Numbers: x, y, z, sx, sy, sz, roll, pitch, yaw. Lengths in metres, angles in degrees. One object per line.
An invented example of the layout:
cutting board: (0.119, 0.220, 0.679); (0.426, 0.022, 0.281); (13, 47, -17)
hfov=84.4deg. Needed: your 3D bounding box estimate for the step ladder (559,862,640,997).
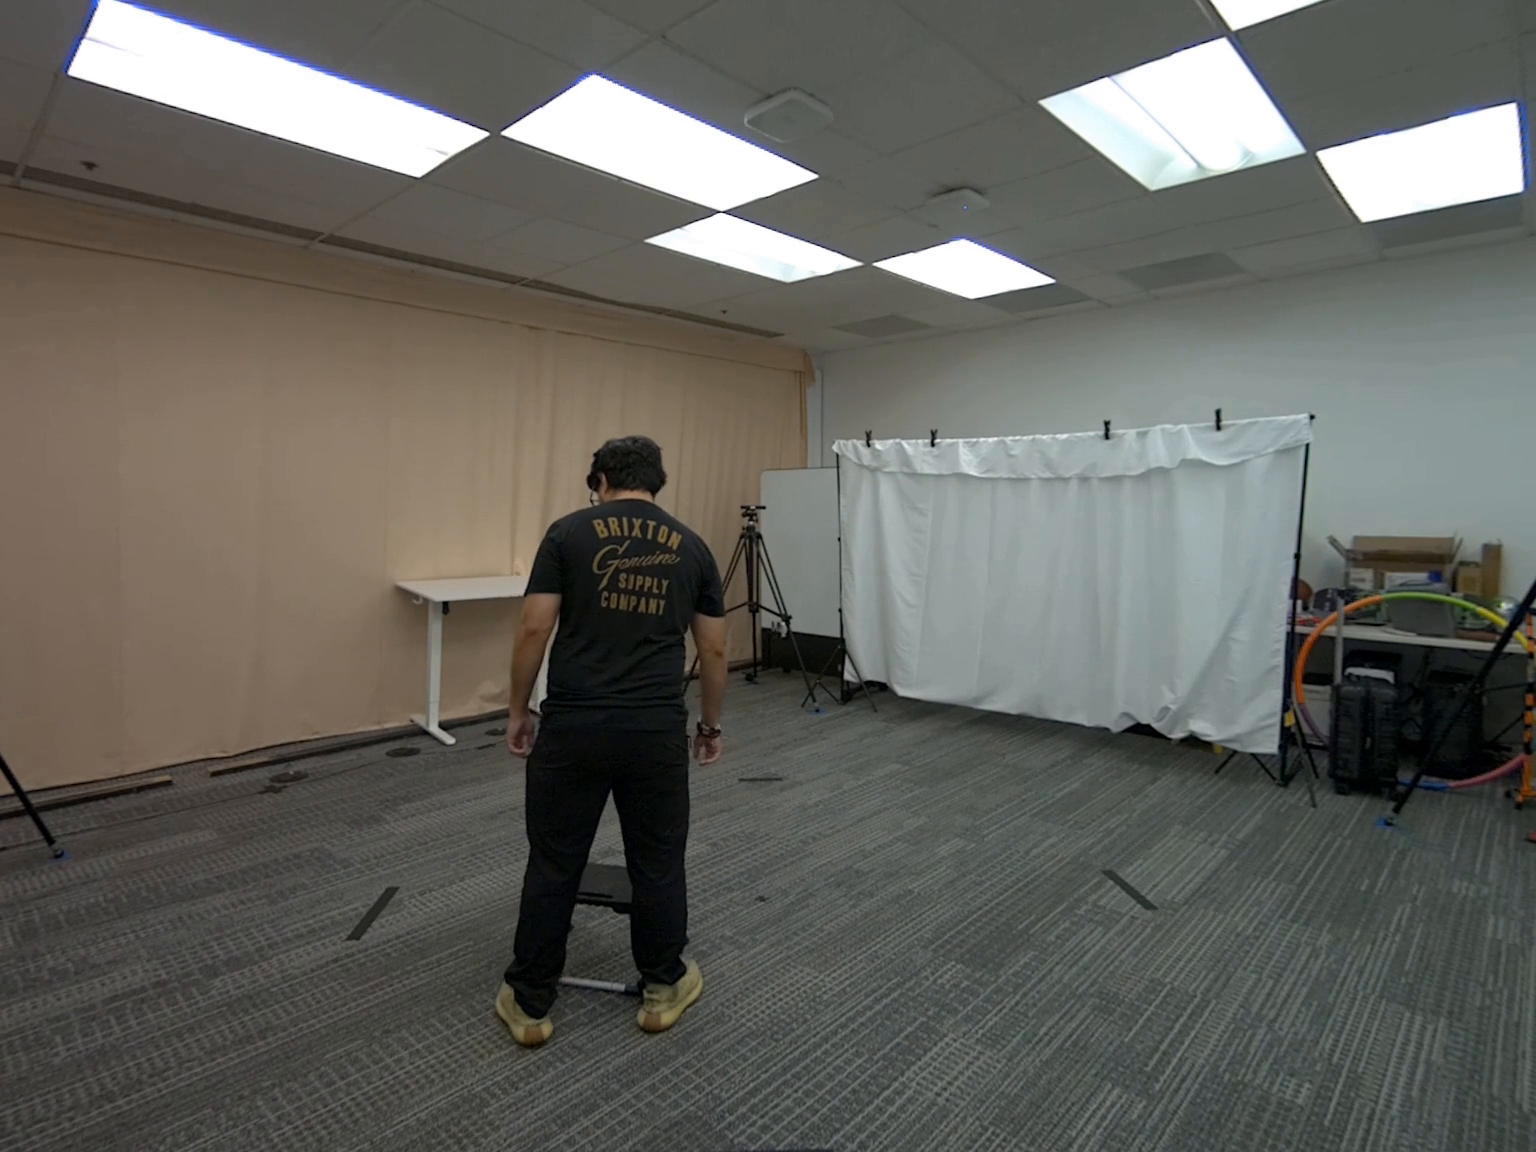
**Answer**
step ladder: (-0.497, 0.886, 2.565); (0.436, 0.605, 0.345); (0, 2, 11)
